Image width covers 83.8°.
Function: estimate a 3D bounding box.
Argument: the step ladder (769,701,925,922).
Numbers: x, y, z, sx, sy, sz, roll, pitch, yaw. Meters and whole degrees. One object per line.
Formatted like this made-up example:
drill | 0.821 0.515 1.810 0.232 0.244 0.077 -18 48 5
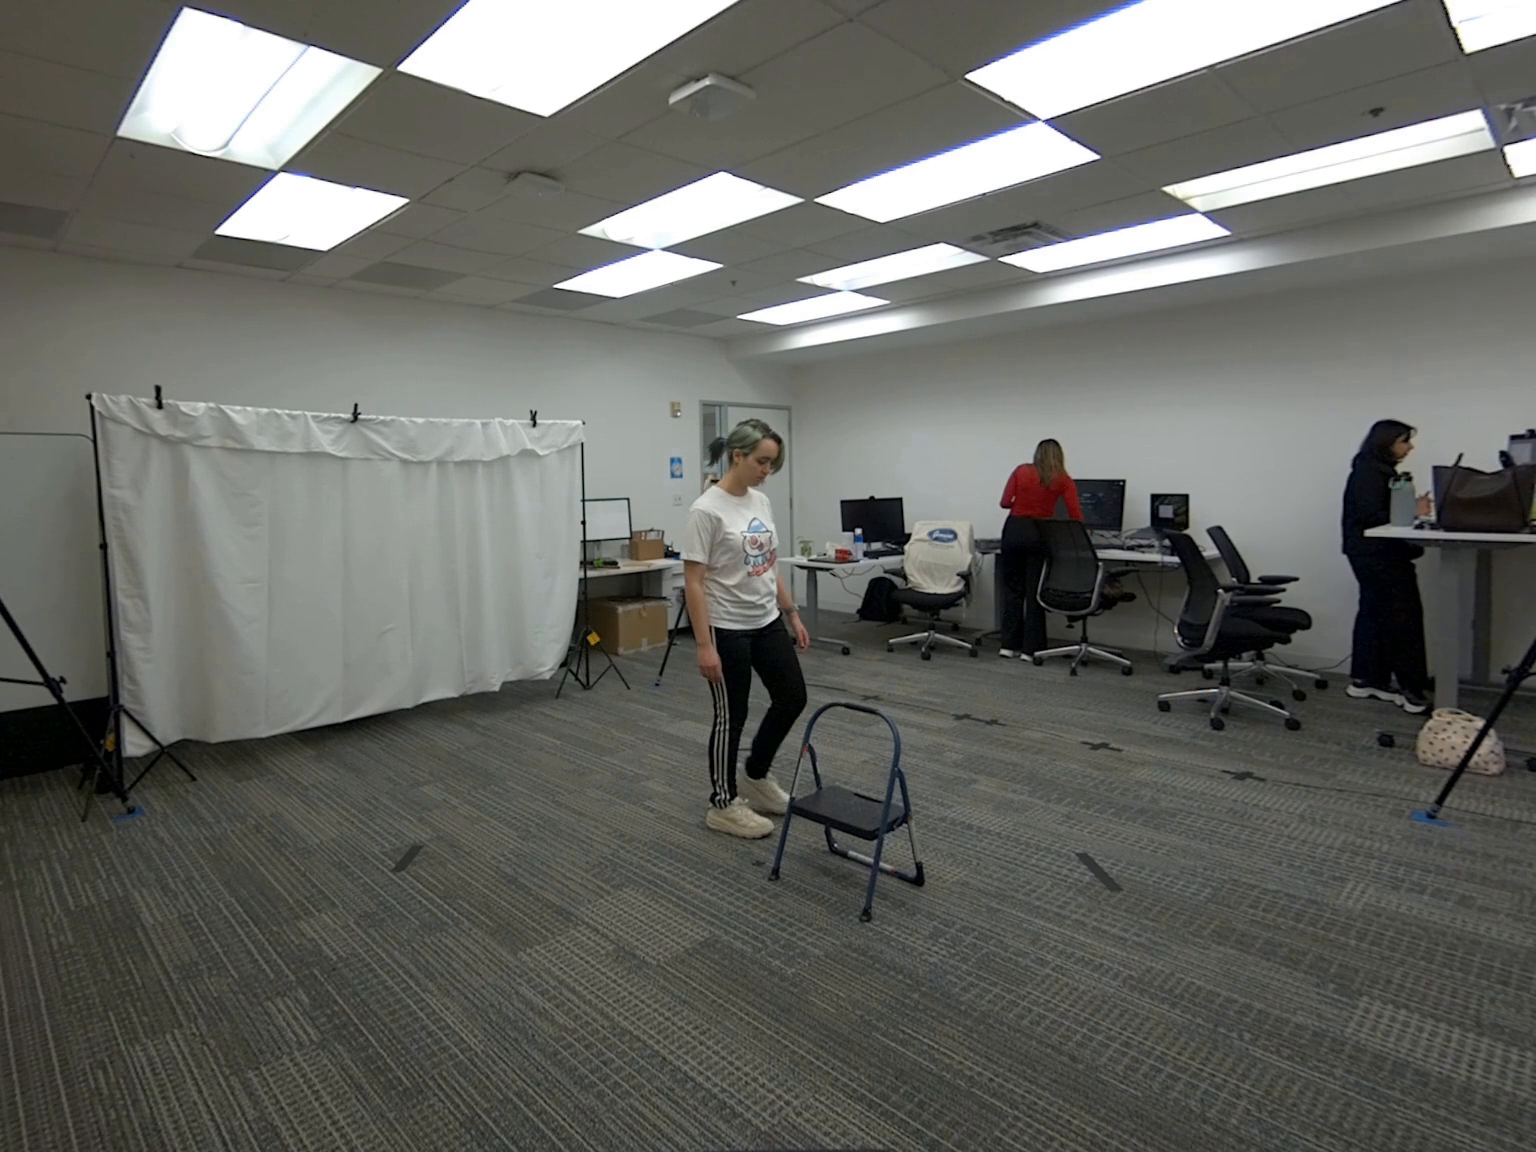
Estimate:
step ladder | 0.269 0.757 2.936 0.444 0.603 0.340 4 7 45
